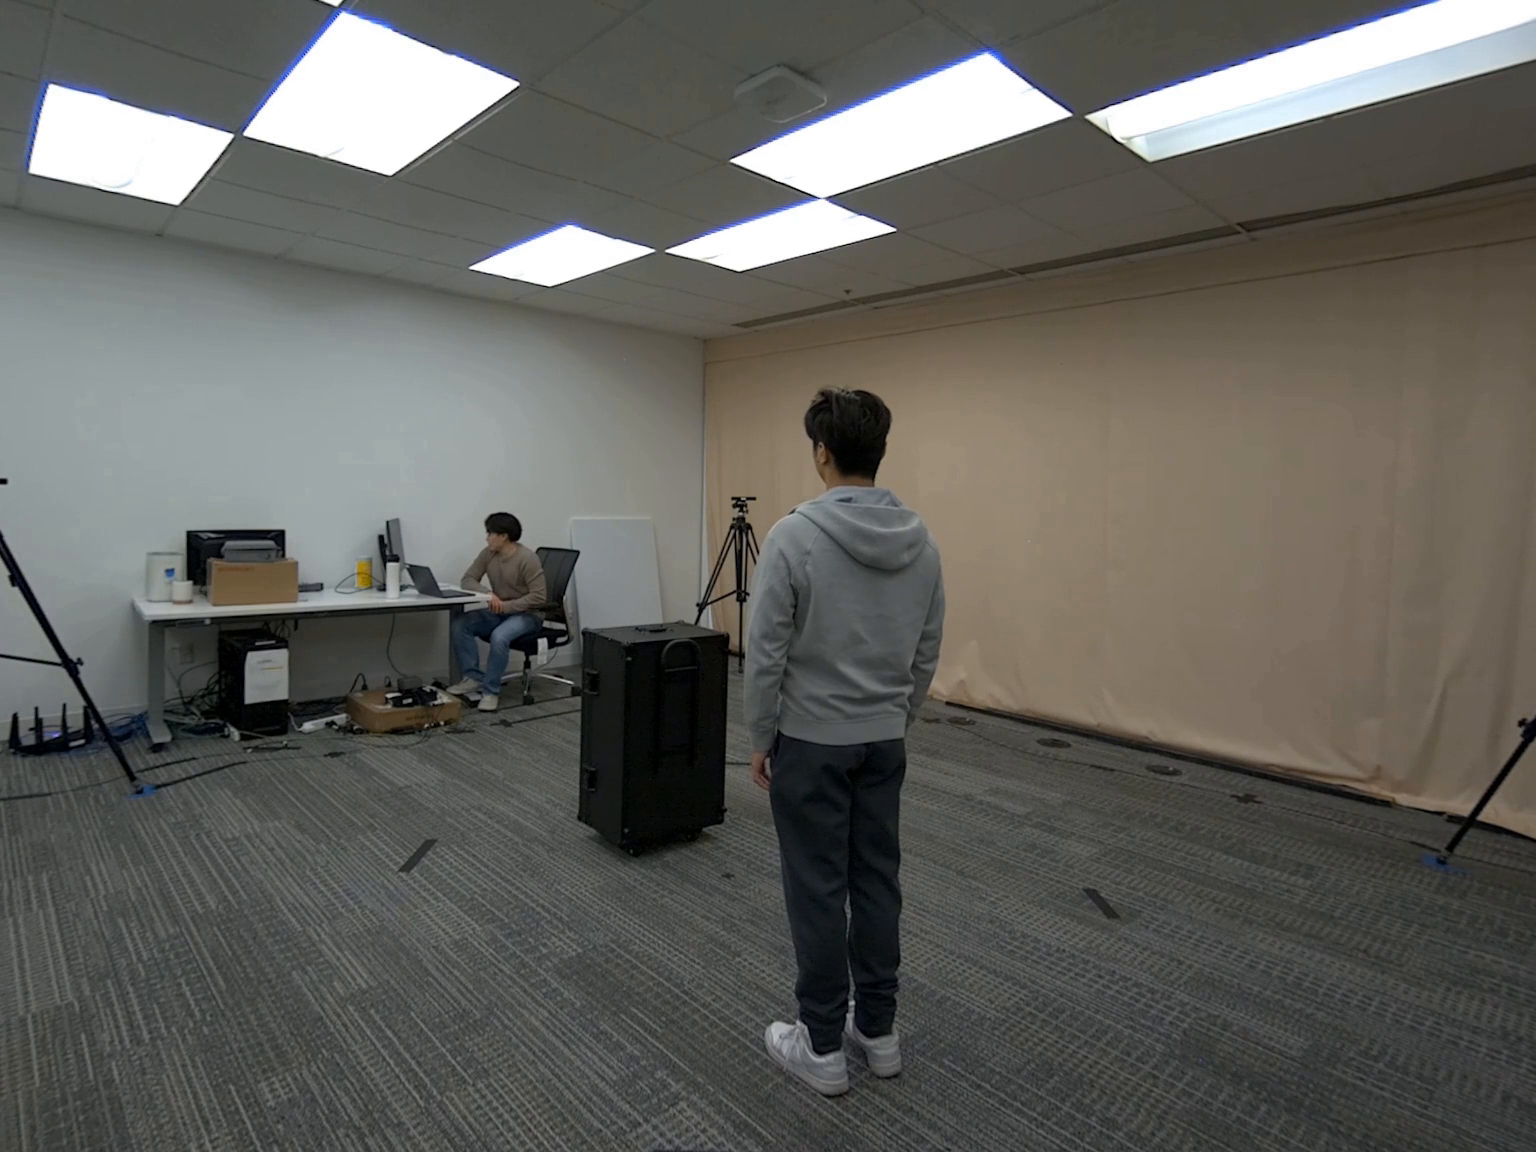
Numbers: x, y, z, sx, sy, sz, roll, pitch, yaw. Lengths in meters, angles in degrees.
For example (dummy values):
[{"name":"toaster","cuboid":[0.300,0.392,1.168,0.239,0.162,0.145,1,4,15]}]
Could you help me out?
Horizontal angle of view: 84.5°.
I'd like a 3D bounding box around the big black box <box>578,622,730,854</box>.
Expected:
[{"name":"big black box","cuboid":[-0.461,0.649,3.405,0.509,0.859,0.406,-1,5,-38]}]
